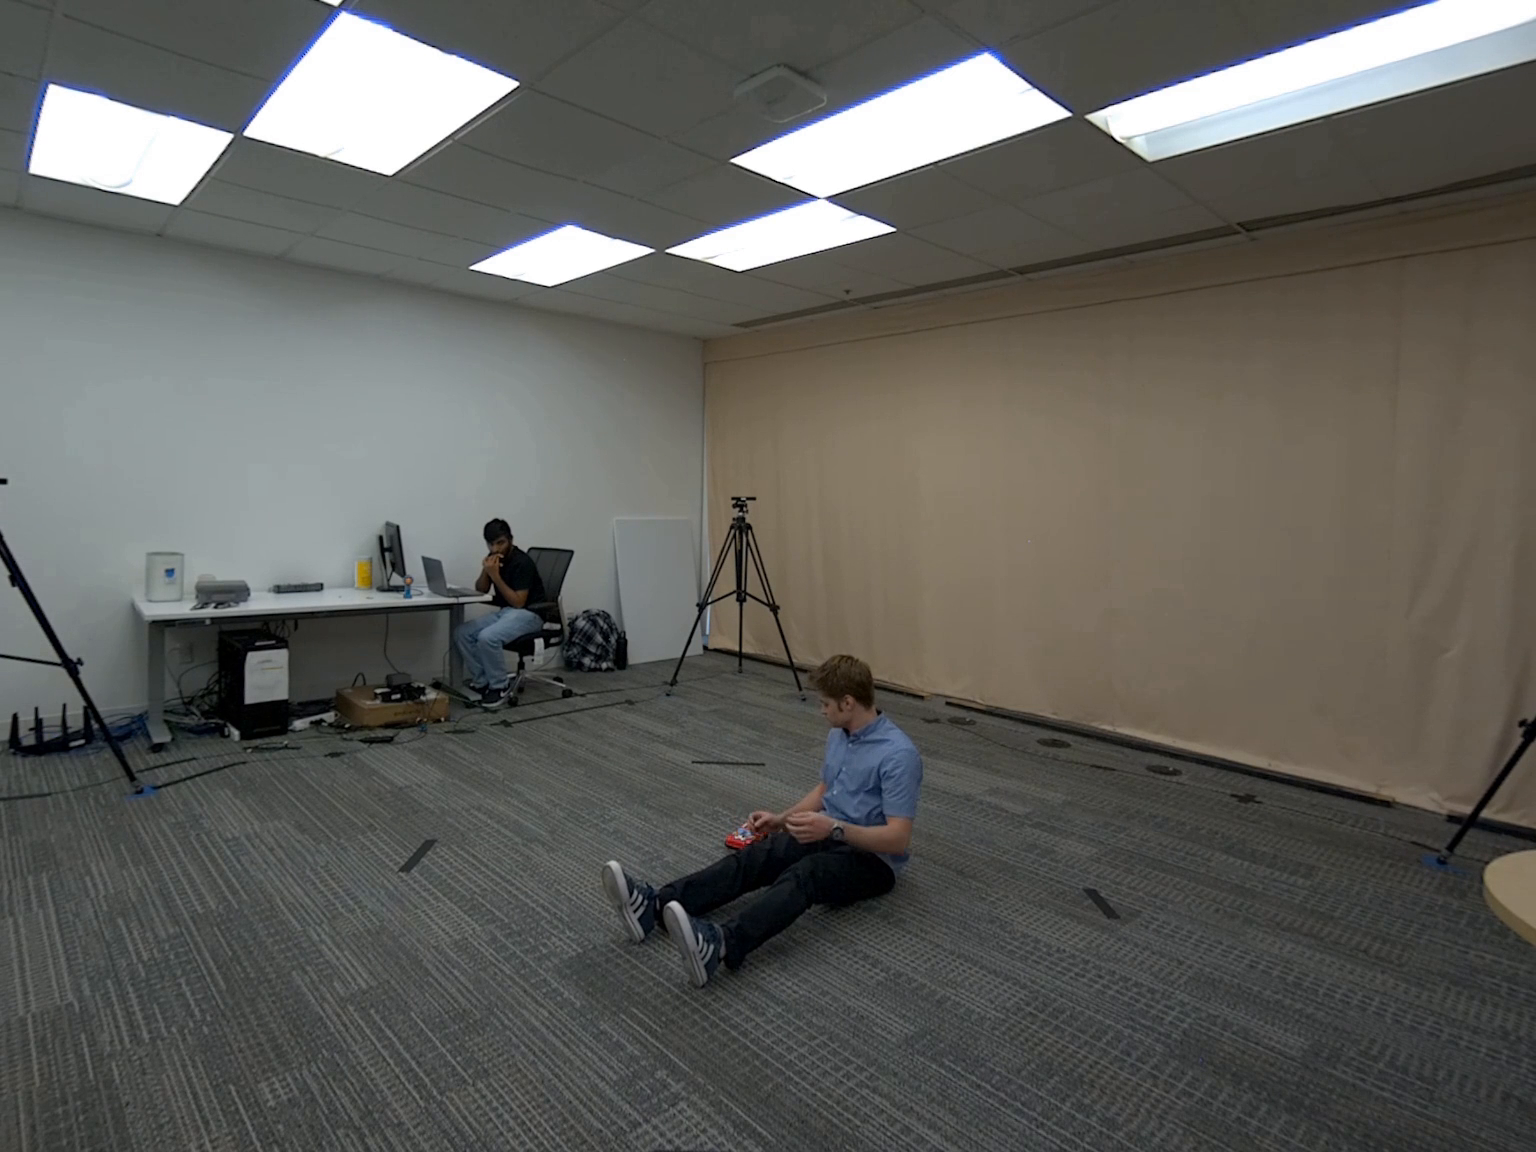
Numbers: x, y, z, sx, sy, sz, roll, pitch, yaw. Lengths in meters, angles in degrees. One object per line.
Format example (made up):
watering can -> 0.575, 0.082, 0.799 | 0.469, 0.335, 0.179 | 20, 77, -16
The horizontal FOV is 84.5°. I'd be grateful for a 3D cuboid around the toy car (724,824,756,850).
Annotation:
toy car -> -0.075, 1.050, 3.425 | 0.133, 0.082, 0.251 | 2, 16, 32
